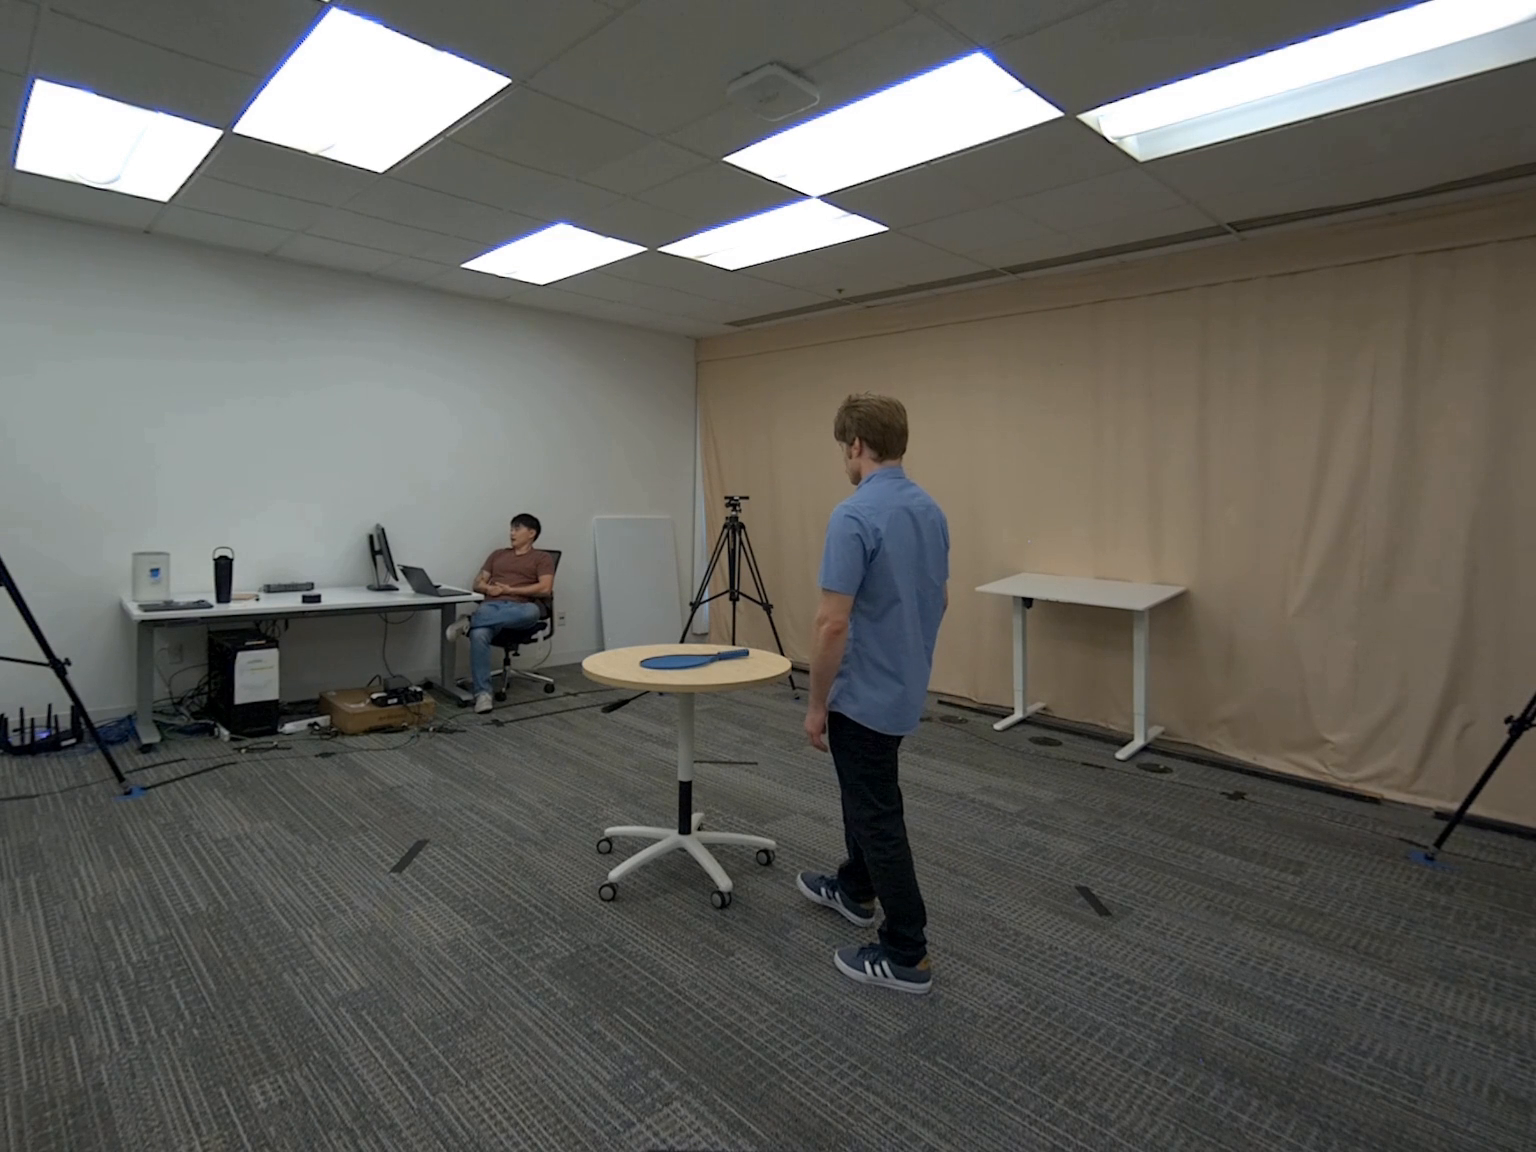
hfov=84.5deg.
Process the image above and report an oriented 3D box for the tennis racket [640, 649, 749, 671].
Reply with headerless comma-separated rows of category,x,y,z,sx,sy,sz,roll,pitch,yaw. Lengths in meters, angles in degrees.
tennis racket,-0.274,0.311,3.089,0.425,0.031,0.218,-4,6,-29
